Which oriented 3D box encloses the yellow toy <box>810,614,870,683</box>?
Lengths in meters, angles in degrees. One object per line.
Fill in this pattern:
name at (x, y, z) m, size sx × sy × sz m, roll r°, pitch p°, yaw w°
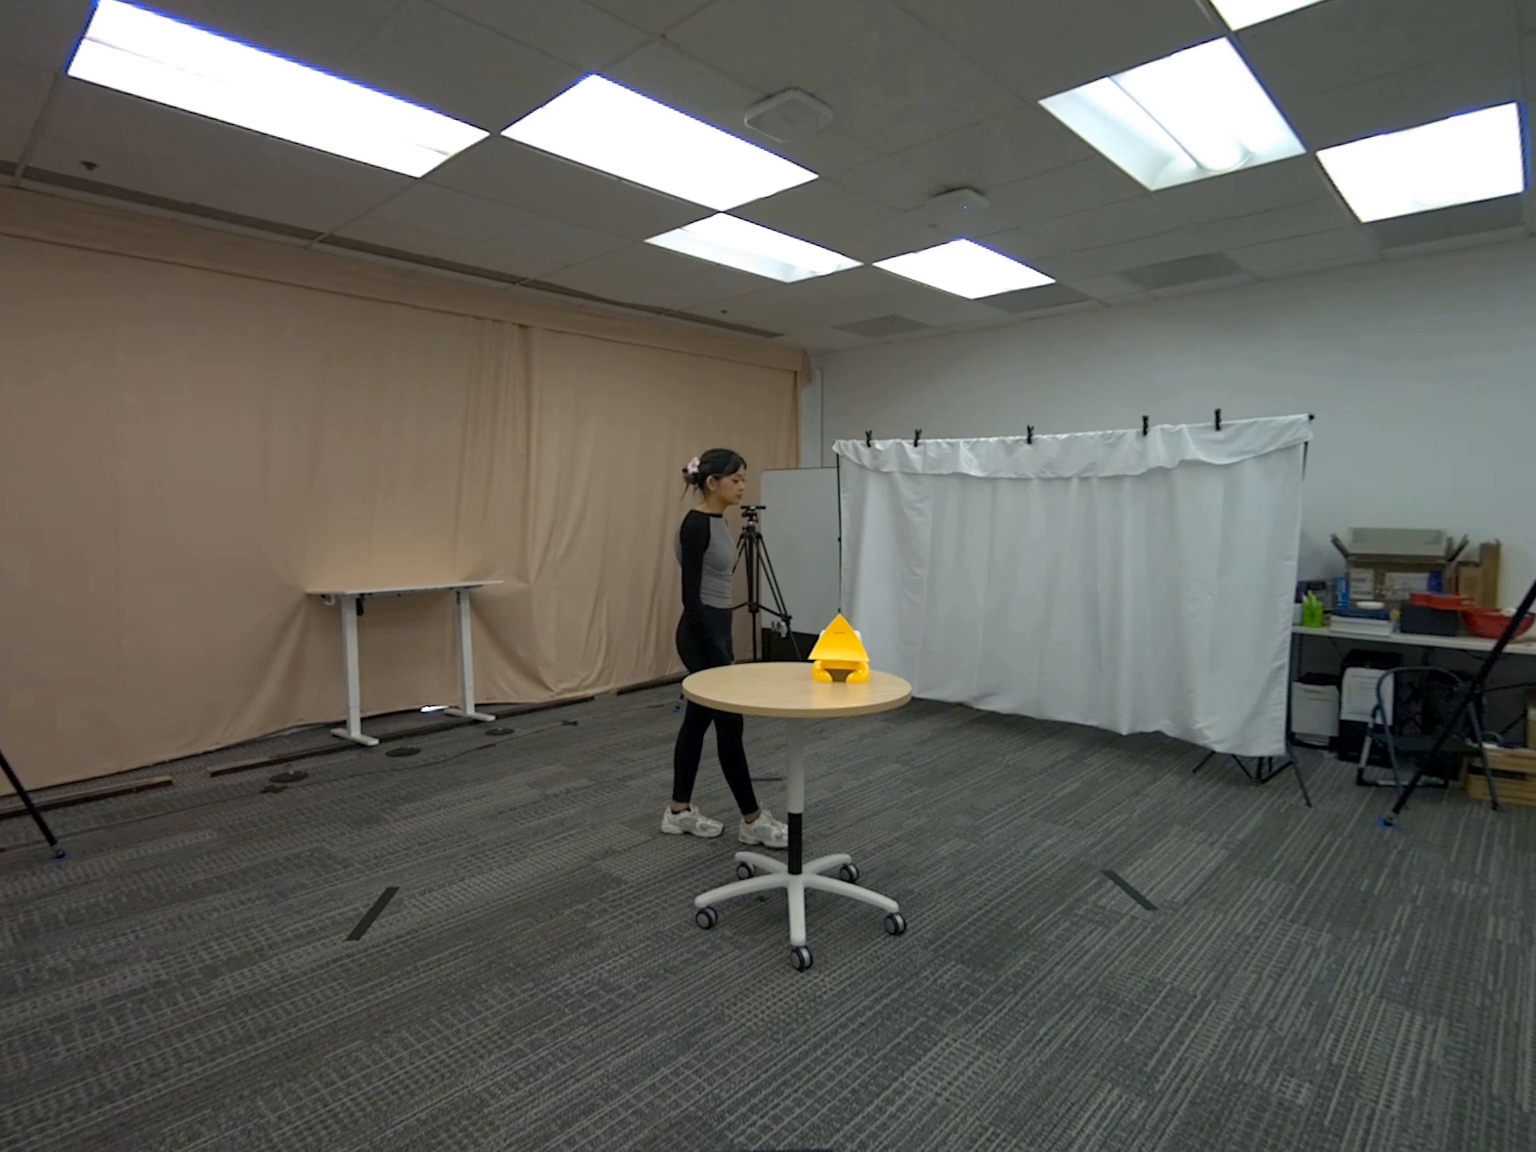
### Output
yellow toy at (0.255, 0.241, 2.916) m, size 0.207 × 0.230 × 0.191 m, roll 1°, pitch 4°, yaw 12°
